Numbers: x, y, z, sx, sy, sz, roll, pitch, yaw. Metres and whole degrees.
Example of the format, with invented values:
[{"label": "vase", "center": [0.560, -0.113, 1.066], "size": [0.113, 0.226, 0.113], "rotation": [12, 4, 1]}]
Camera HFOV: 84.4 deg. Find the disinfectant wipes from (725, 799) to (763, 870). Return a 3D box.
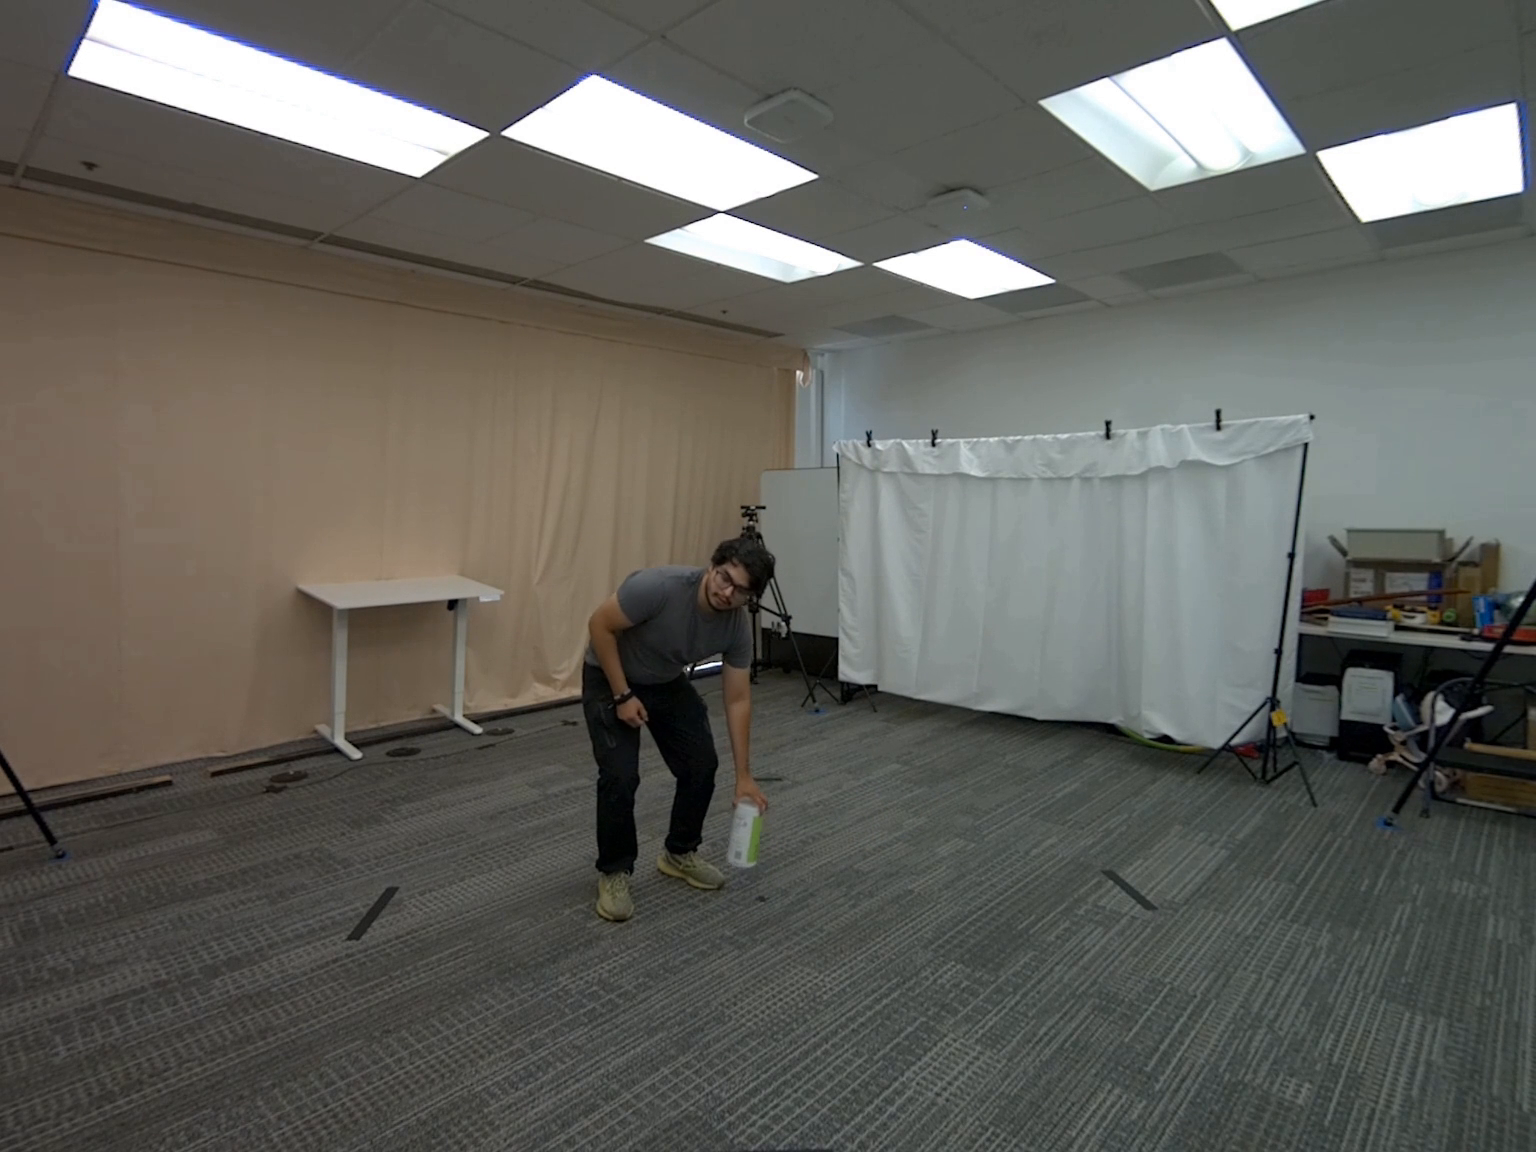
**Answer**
[{"label": "disinfectant wipes", "center": [-0.074, 0.902, 2.947], "size": [0.117, 0.217, 0.118], "rotation": [8, 4, -2]}]
